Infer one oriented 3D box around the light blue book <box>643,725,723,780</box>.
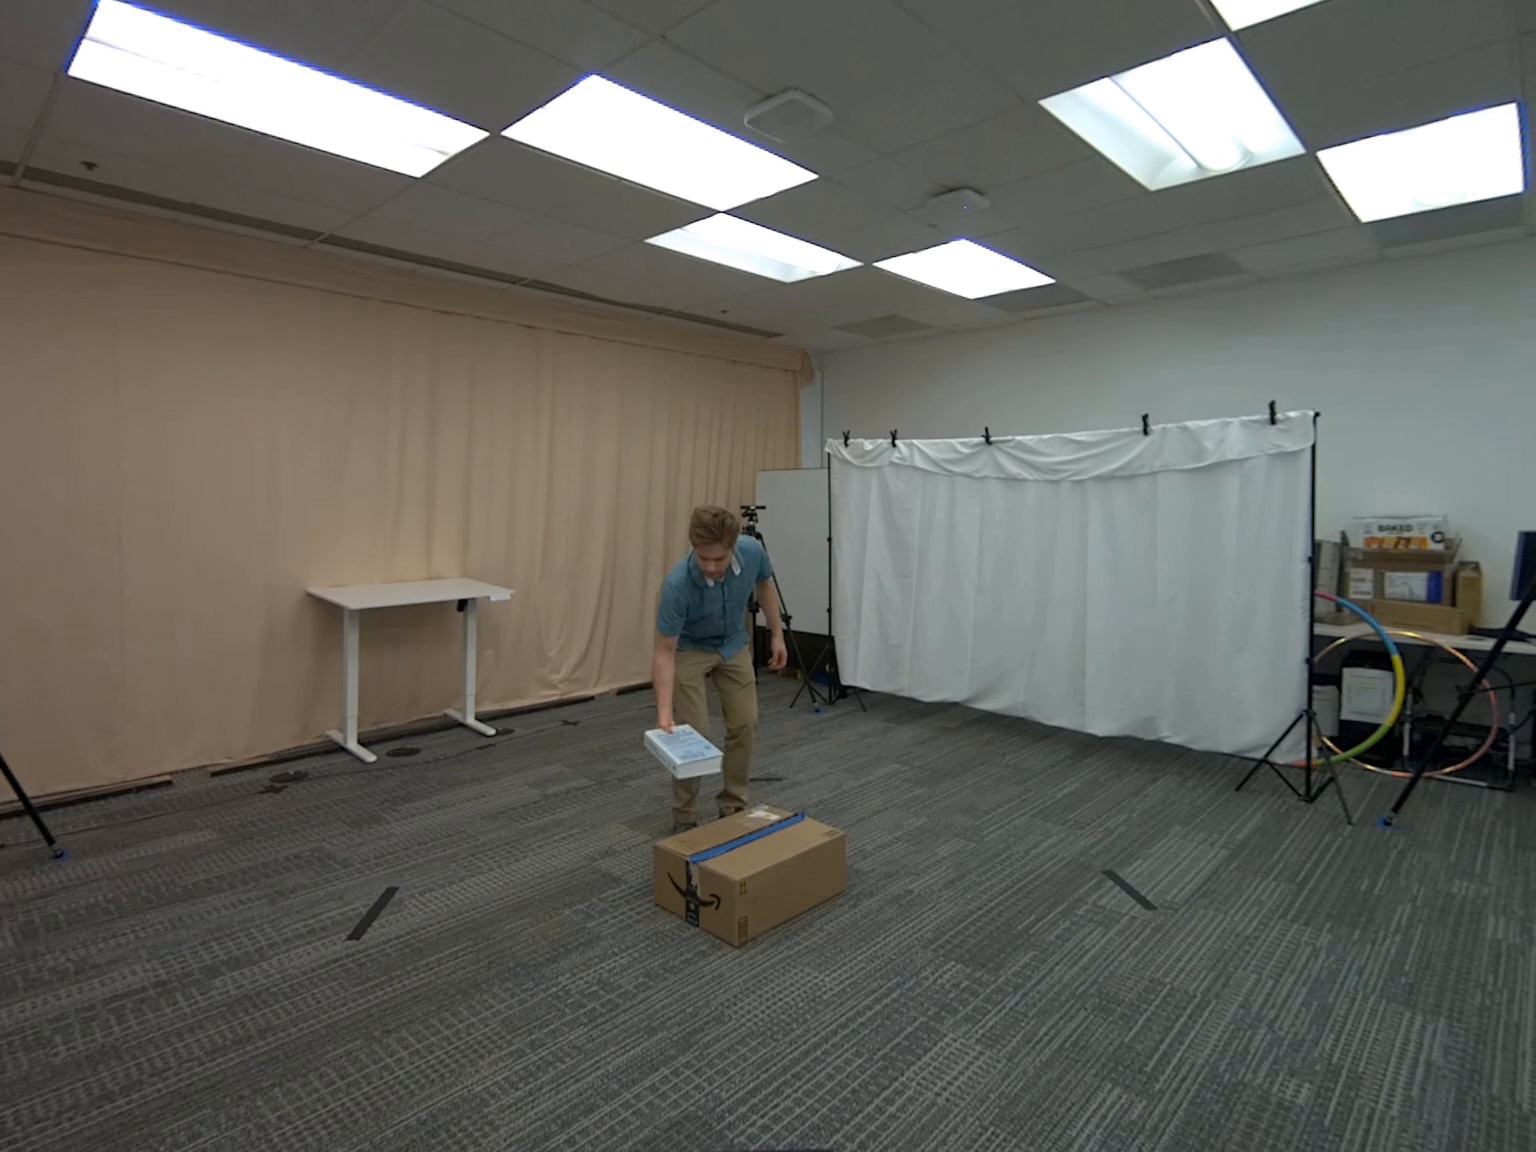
[{"bbox_3d":[-0.307,0.627,3.073,0.186,0.058,0.270,-4,17,-33],"label":"light blue book"}]
